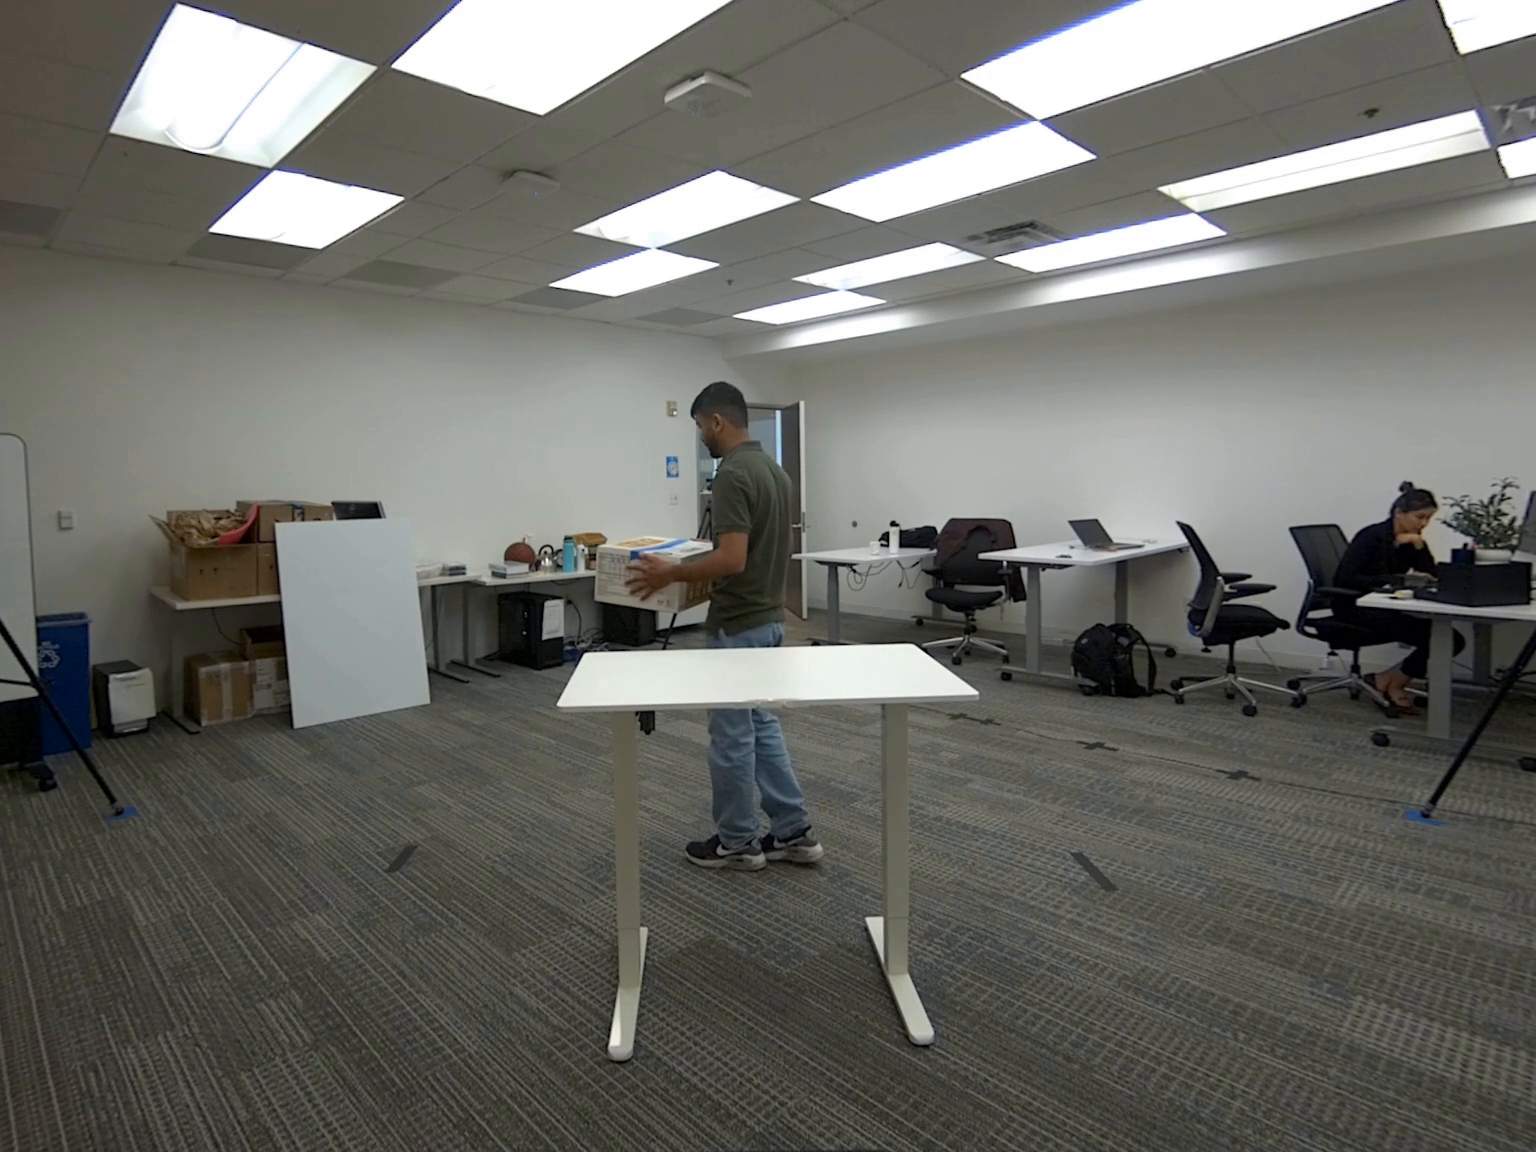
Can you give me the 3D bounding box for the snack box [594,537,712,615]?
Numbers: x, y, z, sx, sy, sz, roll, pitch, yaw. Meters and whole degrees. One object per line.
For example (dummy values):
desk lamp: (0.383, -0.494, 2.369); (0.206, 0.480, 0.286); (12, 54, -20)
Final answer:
snack box: (-0.391, -0.017, 3.201); (0.348, 0.204, 0.399); (7, 10, 20)
